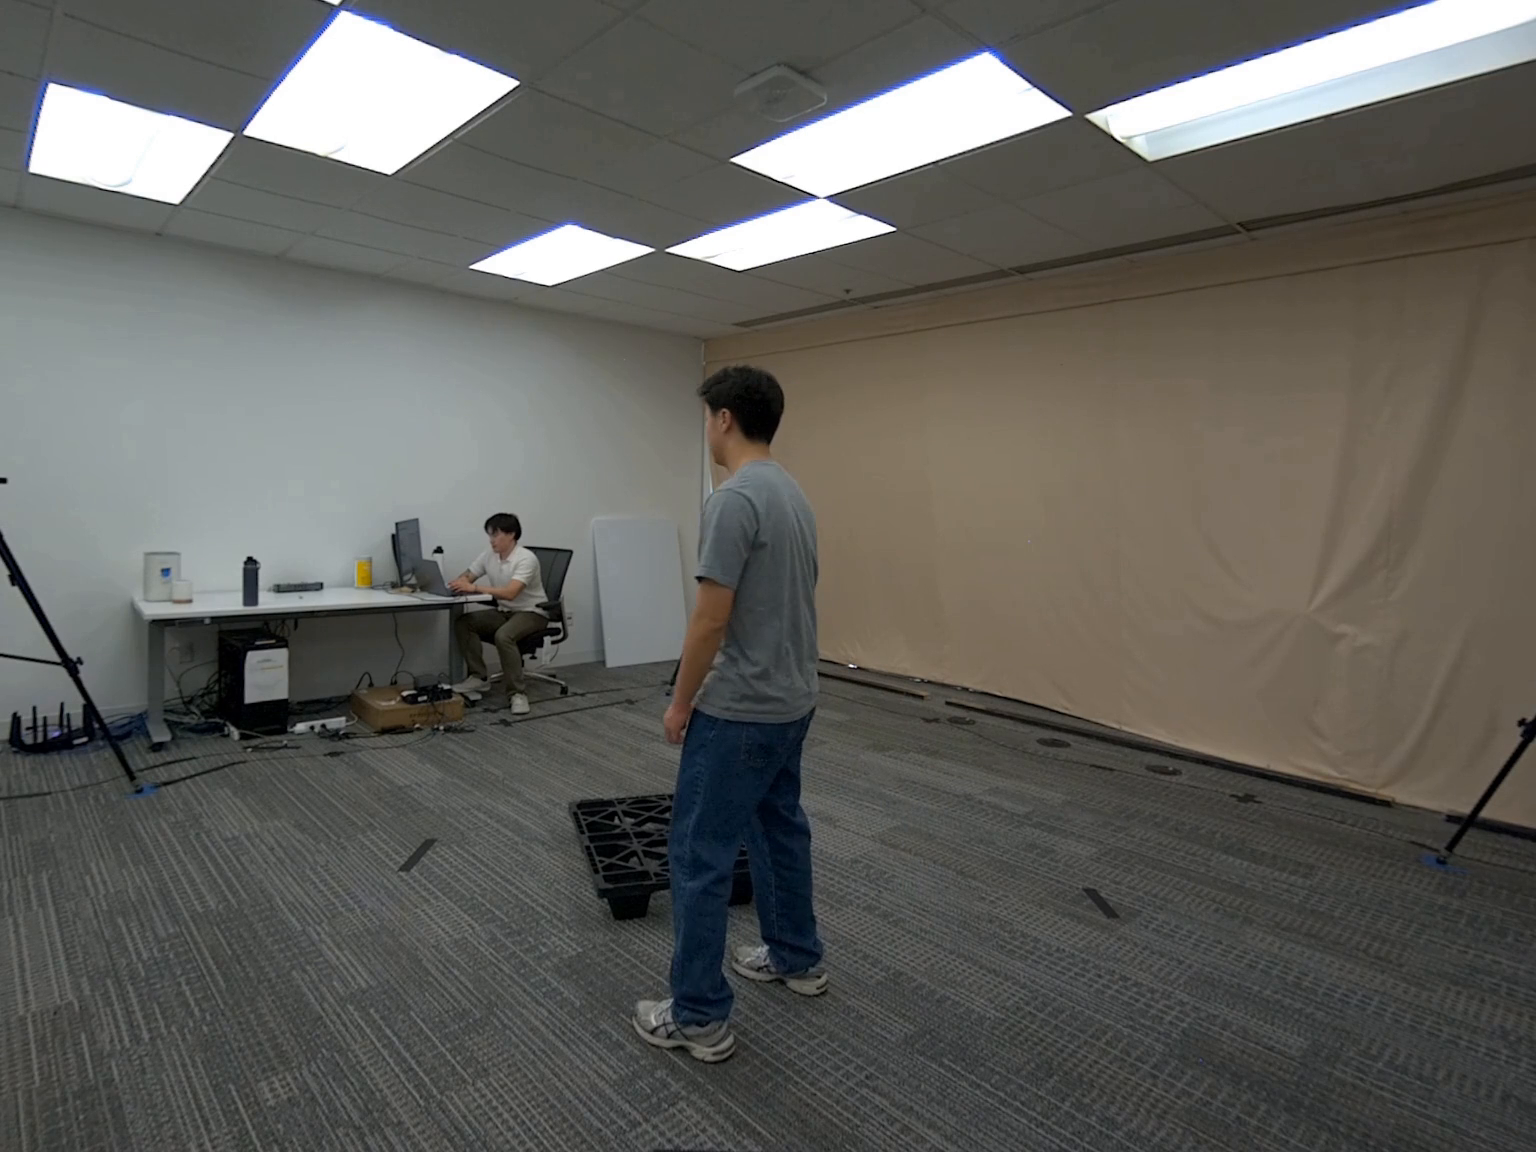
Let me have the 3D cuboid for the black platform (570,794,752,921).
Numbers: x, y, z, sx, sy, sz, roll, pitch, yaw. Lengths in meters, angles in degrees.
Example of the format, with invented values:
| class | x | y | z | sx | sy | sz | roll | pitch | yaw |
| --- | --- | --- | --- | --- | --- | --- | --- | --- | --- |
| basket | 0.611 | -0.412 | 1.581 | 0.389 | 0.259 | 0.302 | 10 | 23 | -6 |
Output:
| class | x | y | z | sx | sy | sz | roll | pitch | yaw |
| --- | --- | --- | --- | --- | --- | --- | --- | --- | --- |
| black platform | -0.406 | 1.025 | 3.168 | 0.596 | 0.143 | 0.820 | 0 | 6 | -19 |
